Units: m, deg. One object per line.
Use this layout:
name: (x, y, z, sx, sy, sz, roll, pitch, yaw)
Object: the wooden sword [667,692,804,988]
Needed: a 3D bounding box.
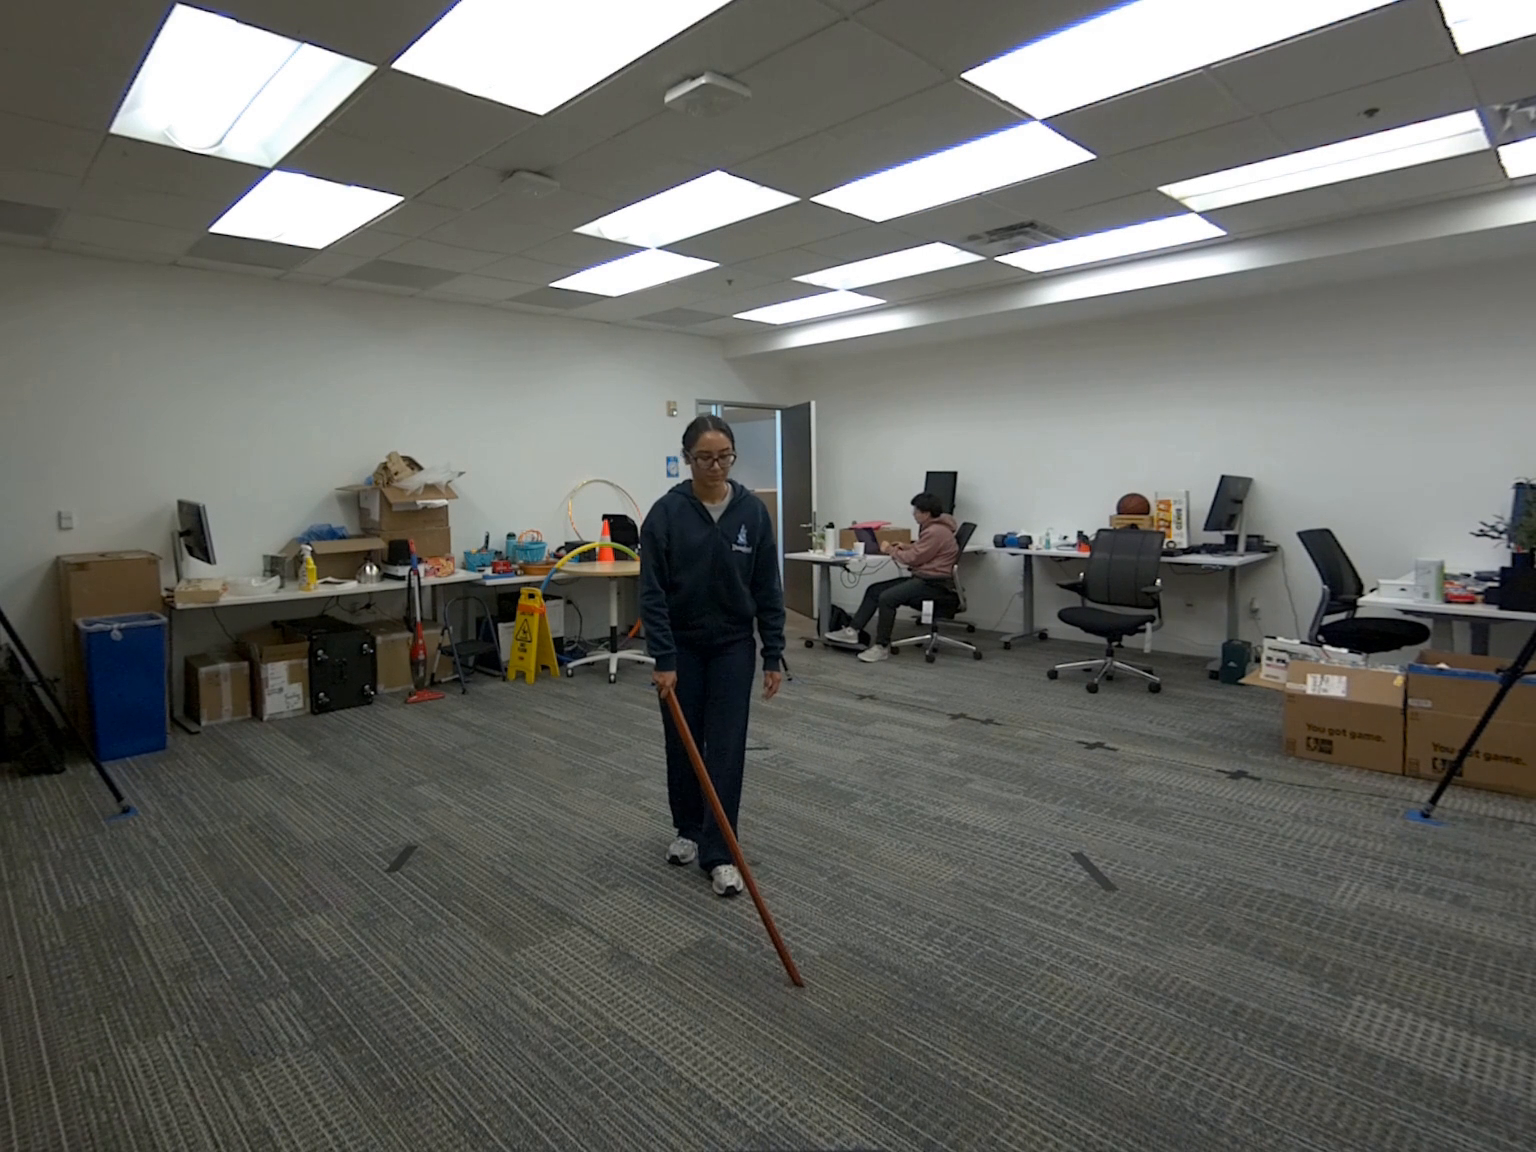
wooden sword: (-0.144, 0.731, 2.618, 0.050, 1.059, 0.023, -17, -32, -22)
